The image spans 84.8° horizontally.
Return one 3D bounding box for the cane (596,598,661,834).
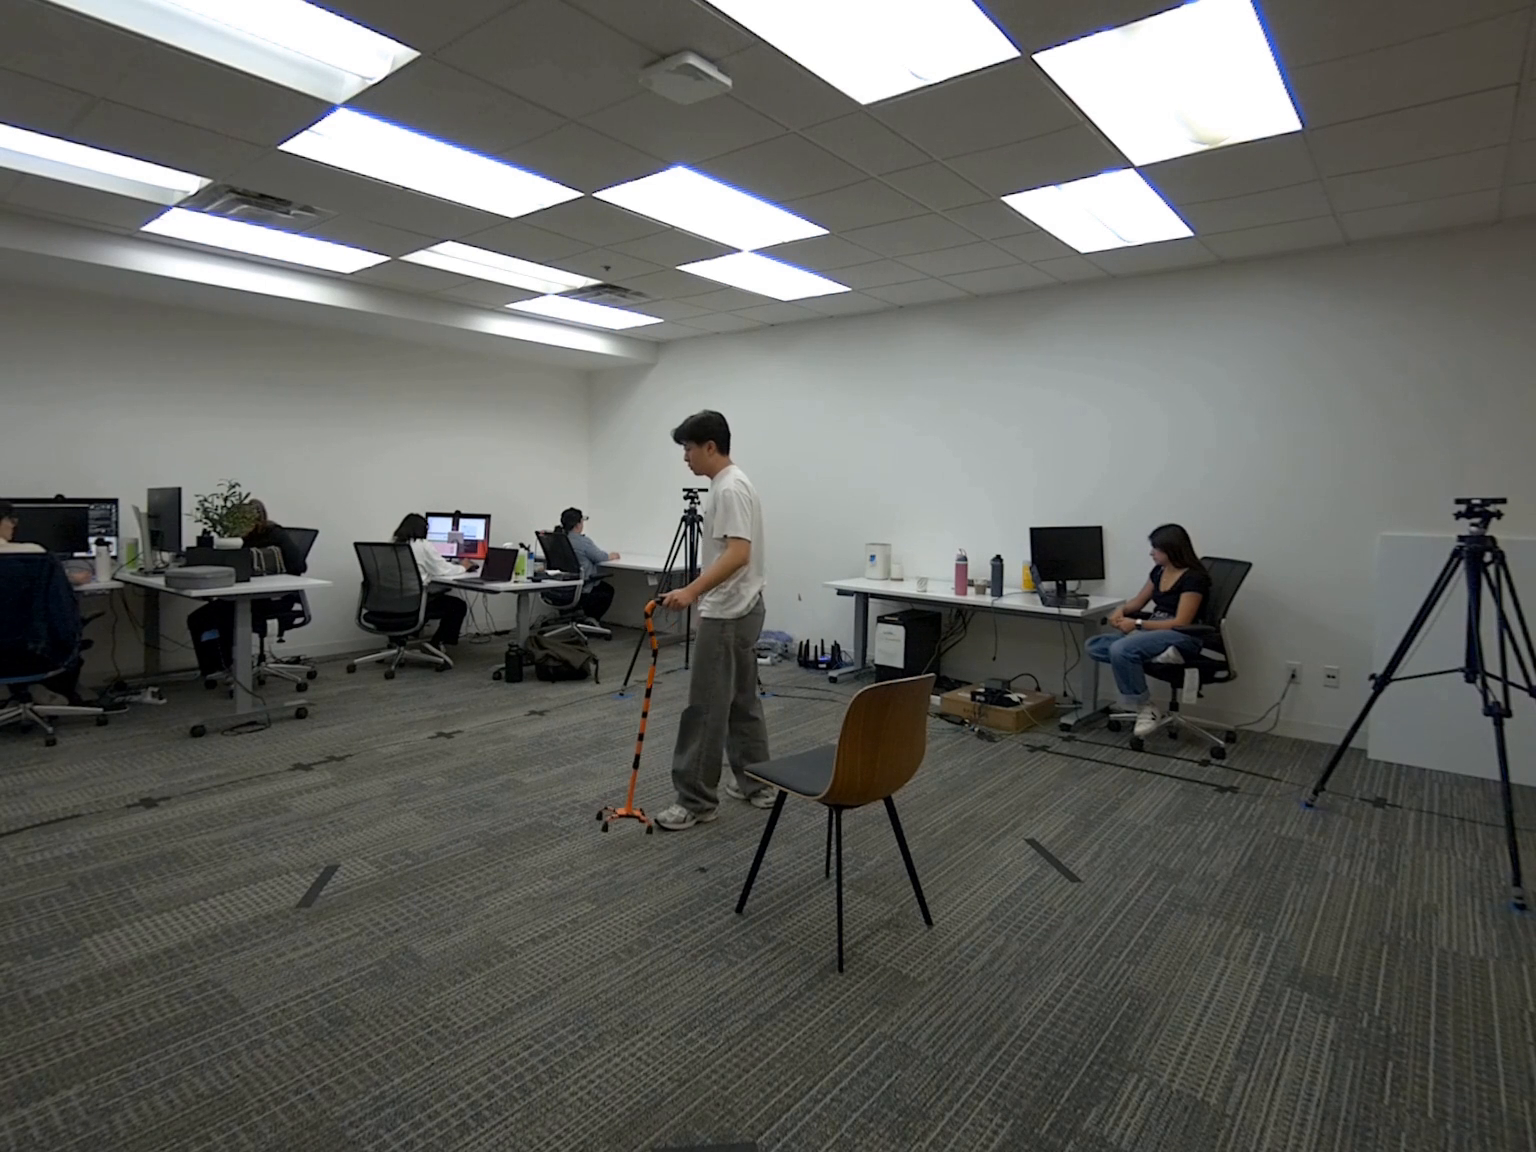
[{"bbox_3d":[-0.487,0.530,3.333,0.201,0.907,0.155,9,1,-23],"label":"cane"}]
